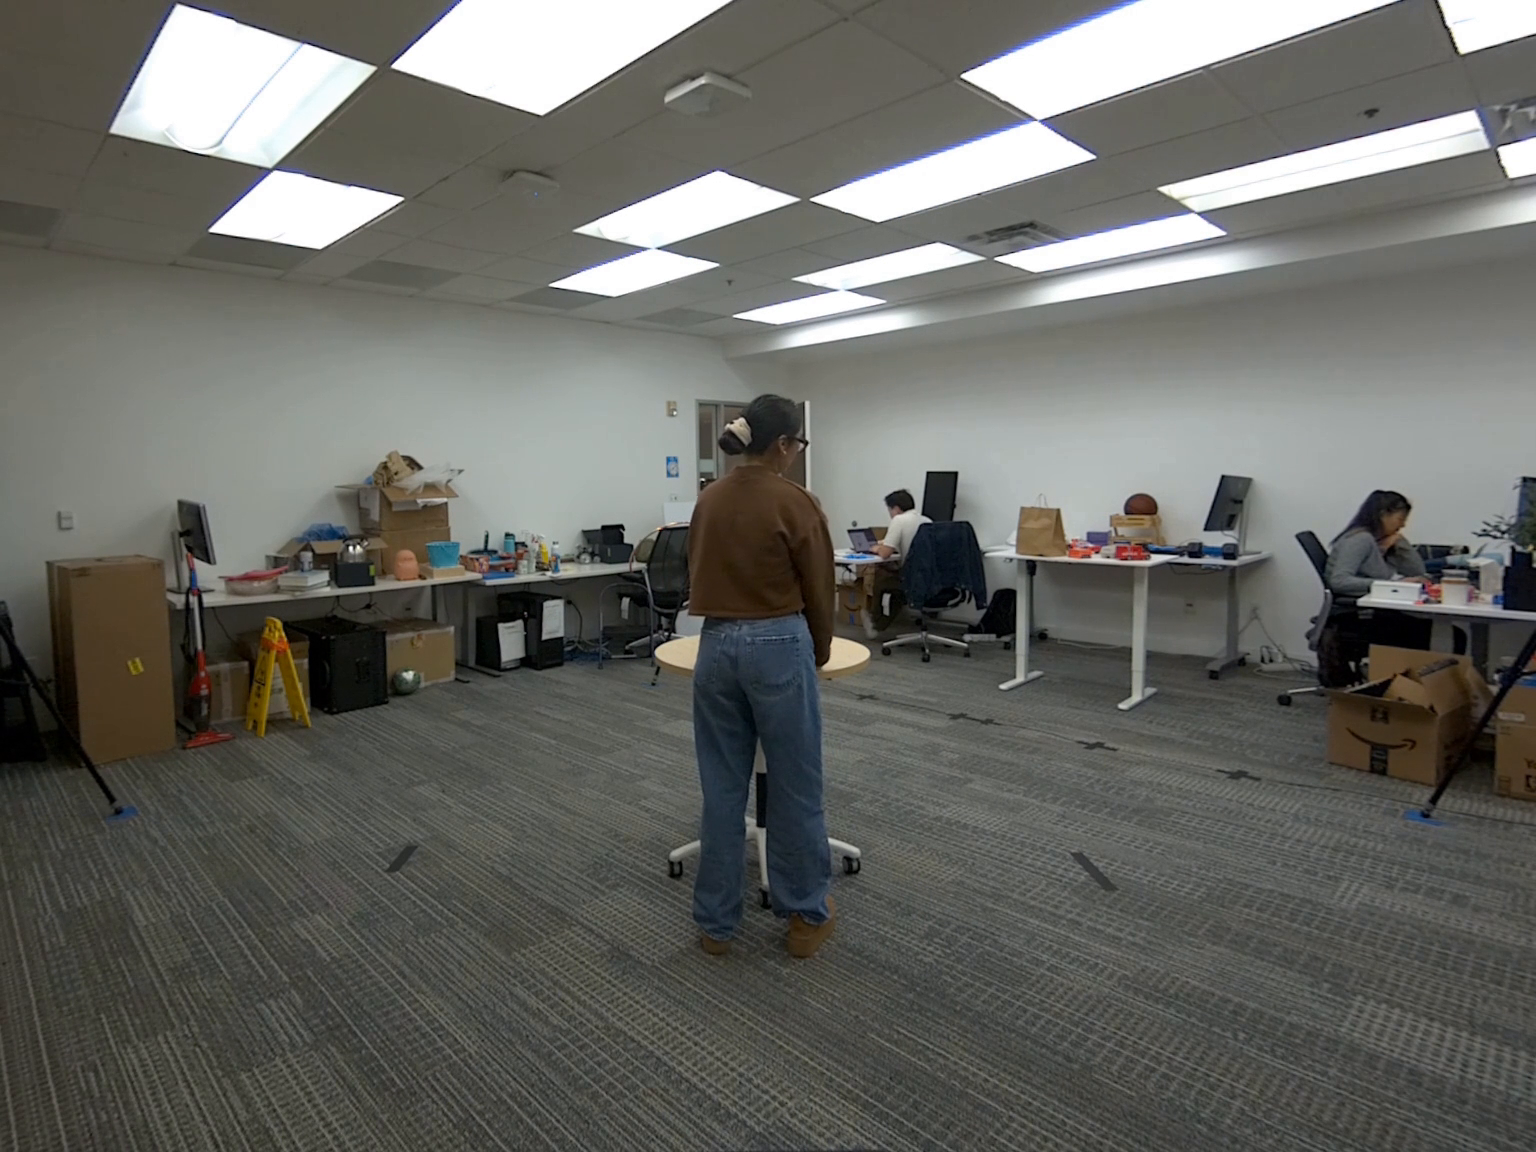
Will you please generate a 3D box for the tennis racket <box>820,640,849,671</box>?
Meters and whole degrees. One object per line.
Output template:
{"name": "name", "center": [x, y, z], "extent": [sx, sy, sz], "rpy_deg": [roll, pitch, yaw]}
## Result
{"name": "tennis racket", "center": [0.151, 0.272, 2.961], "extent": [0.214, 0.032, 0.433], "rpy_deg": [-2, 4, 1]}
